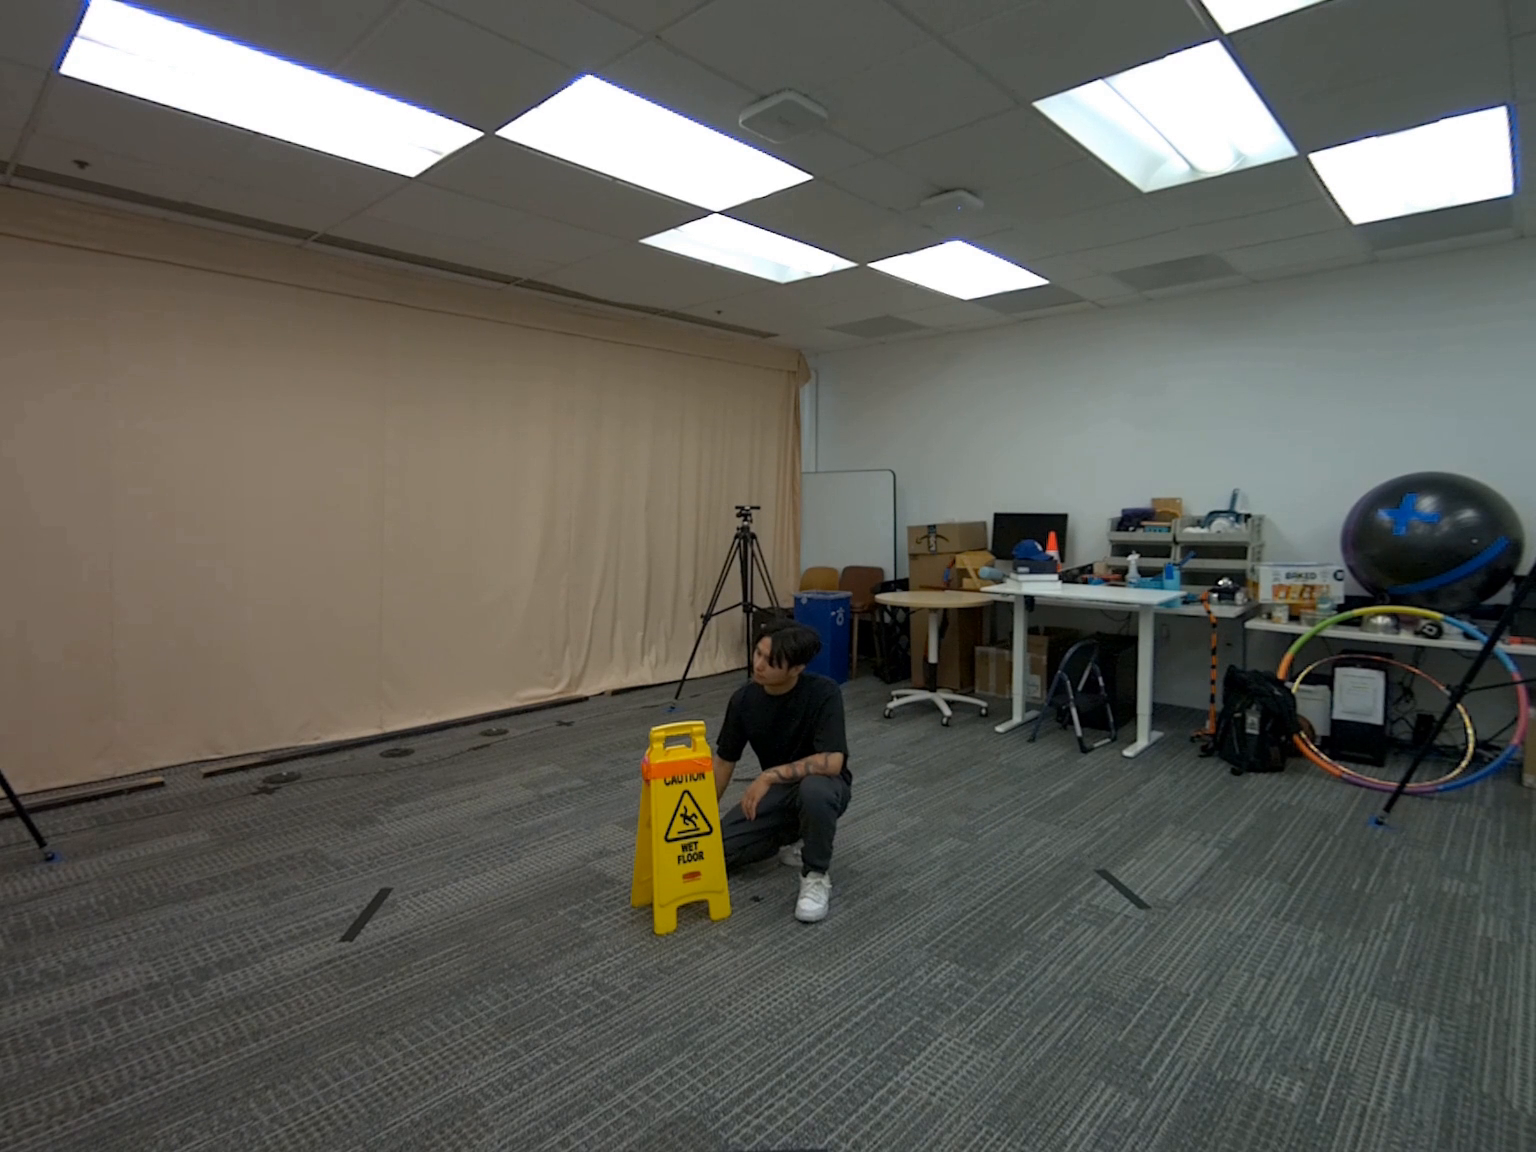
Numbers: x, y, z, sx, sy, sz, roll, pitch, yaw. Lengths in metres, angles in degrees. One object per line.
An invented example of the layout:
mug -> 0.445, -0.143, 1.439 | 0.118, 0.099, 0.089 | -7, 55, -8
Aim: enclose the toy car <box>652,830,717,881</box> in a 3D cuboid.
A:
toy car -> -0.322, 1.077, 3.281 | 0.133, 0.083, 0.249 | -13, 2, 24
